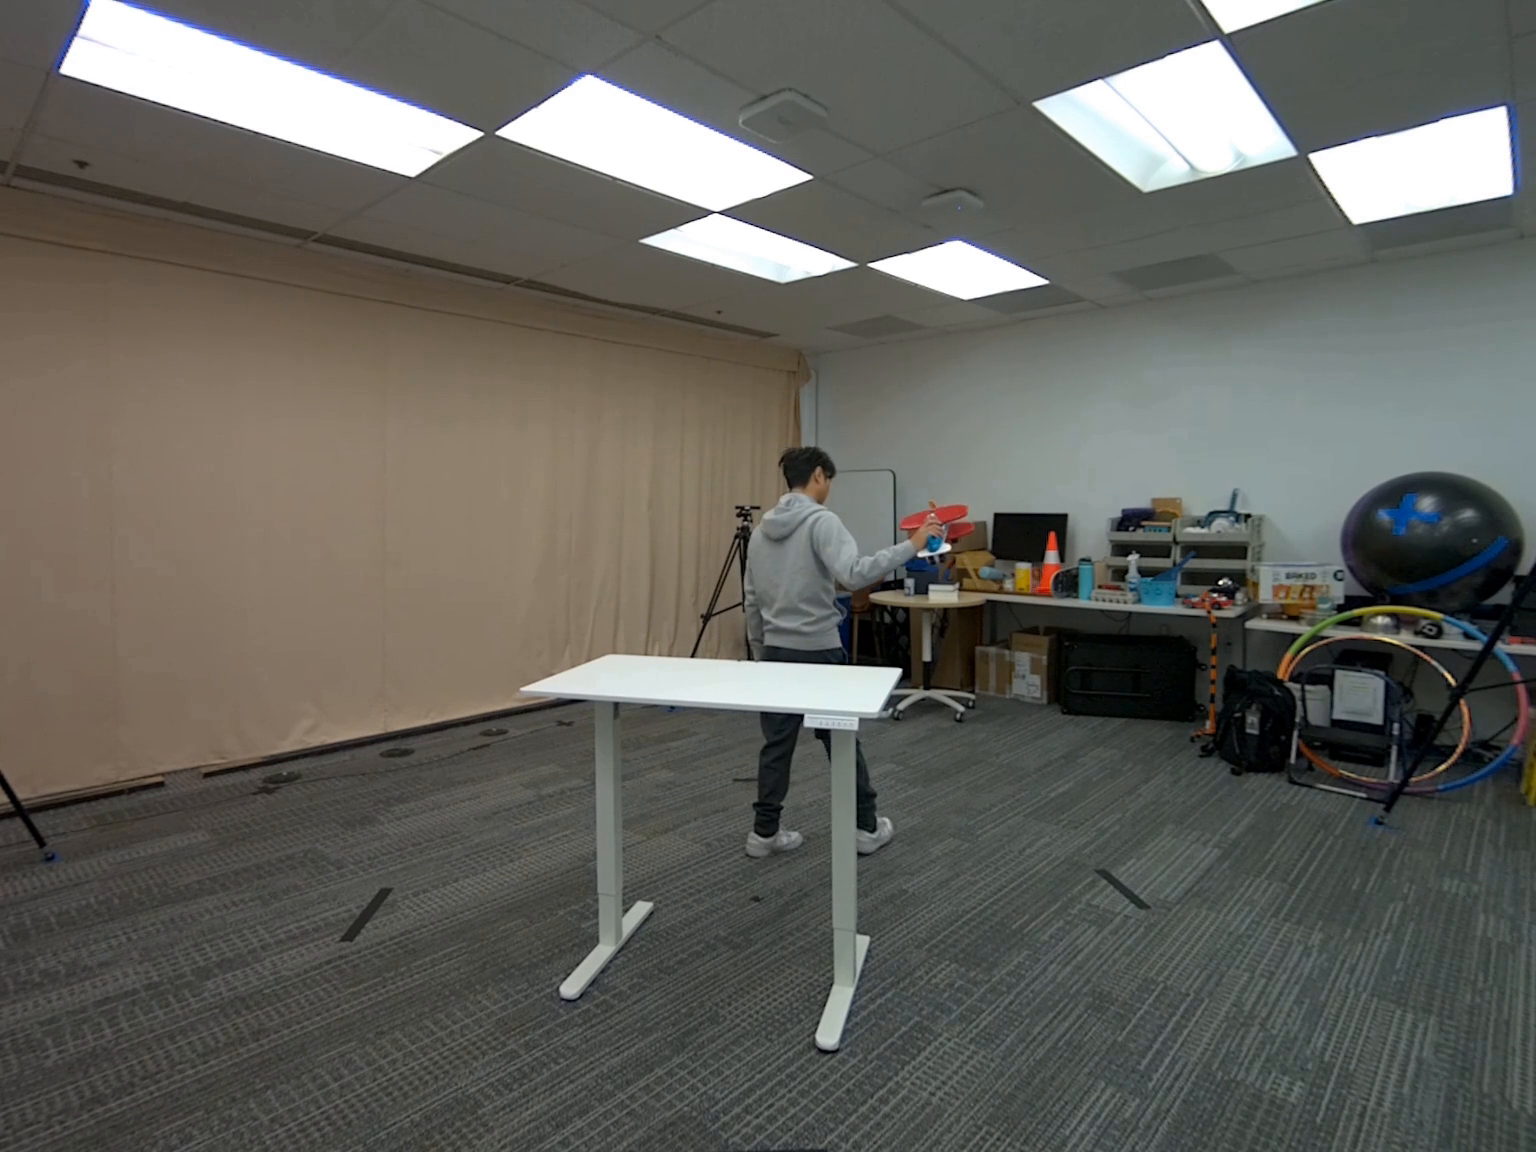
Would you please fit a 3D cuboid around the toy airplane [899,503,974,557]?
[{"bbox_3d":[0.648,-0.156,3.095,0.251,0.154,0.263,-21,17,-3],"label":"toy airplane"}]
